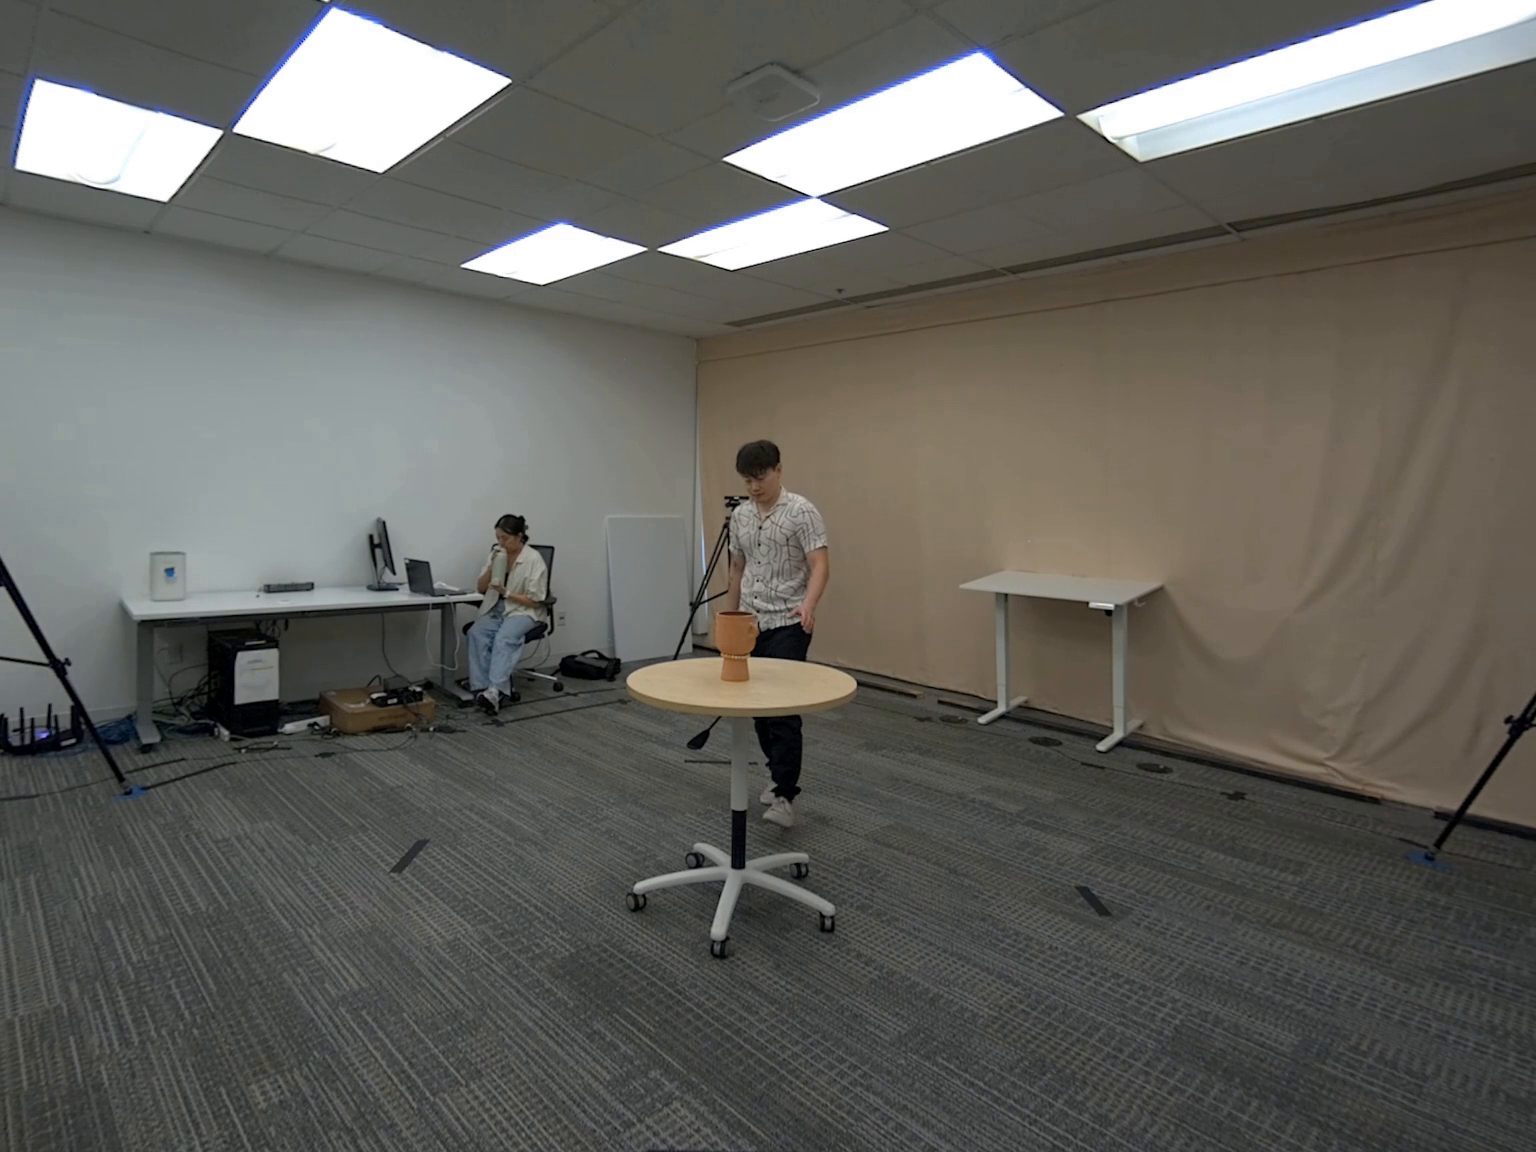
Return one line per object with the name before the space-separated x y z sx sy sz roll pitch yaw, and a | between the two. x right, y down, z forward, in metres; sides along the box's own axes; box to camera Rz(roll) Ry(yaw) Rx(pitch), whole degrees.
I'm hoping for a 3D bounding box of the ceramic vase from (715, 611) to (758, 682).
ceramic vase | -0.122 0.239 2.817 0.134 0.219 0.160 1 5 -9
